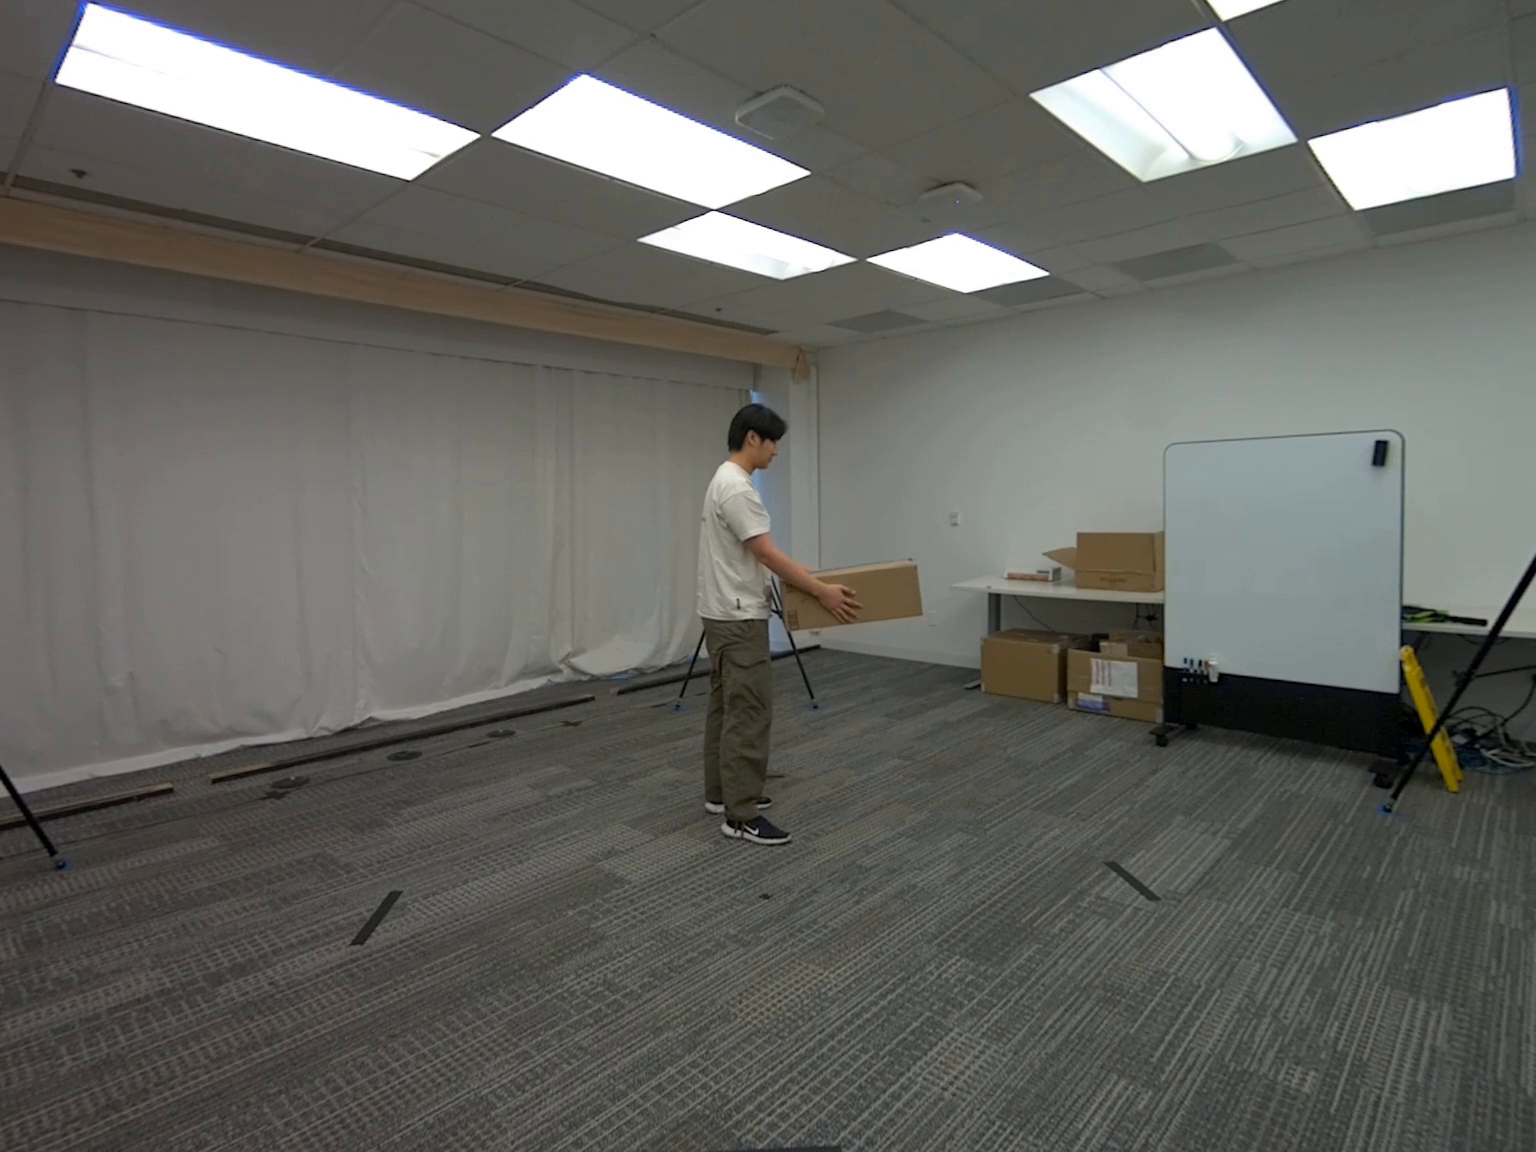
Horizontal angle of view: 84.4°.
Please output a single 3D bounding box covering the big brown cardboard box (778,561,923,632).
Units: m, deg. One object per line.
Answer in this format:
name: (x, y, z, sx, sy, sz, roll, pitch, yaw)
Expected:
big brown cardboard box: (0.356, 0.077, 3.671, 0.590, 0.233, 0.417, -8, 3, 2)
